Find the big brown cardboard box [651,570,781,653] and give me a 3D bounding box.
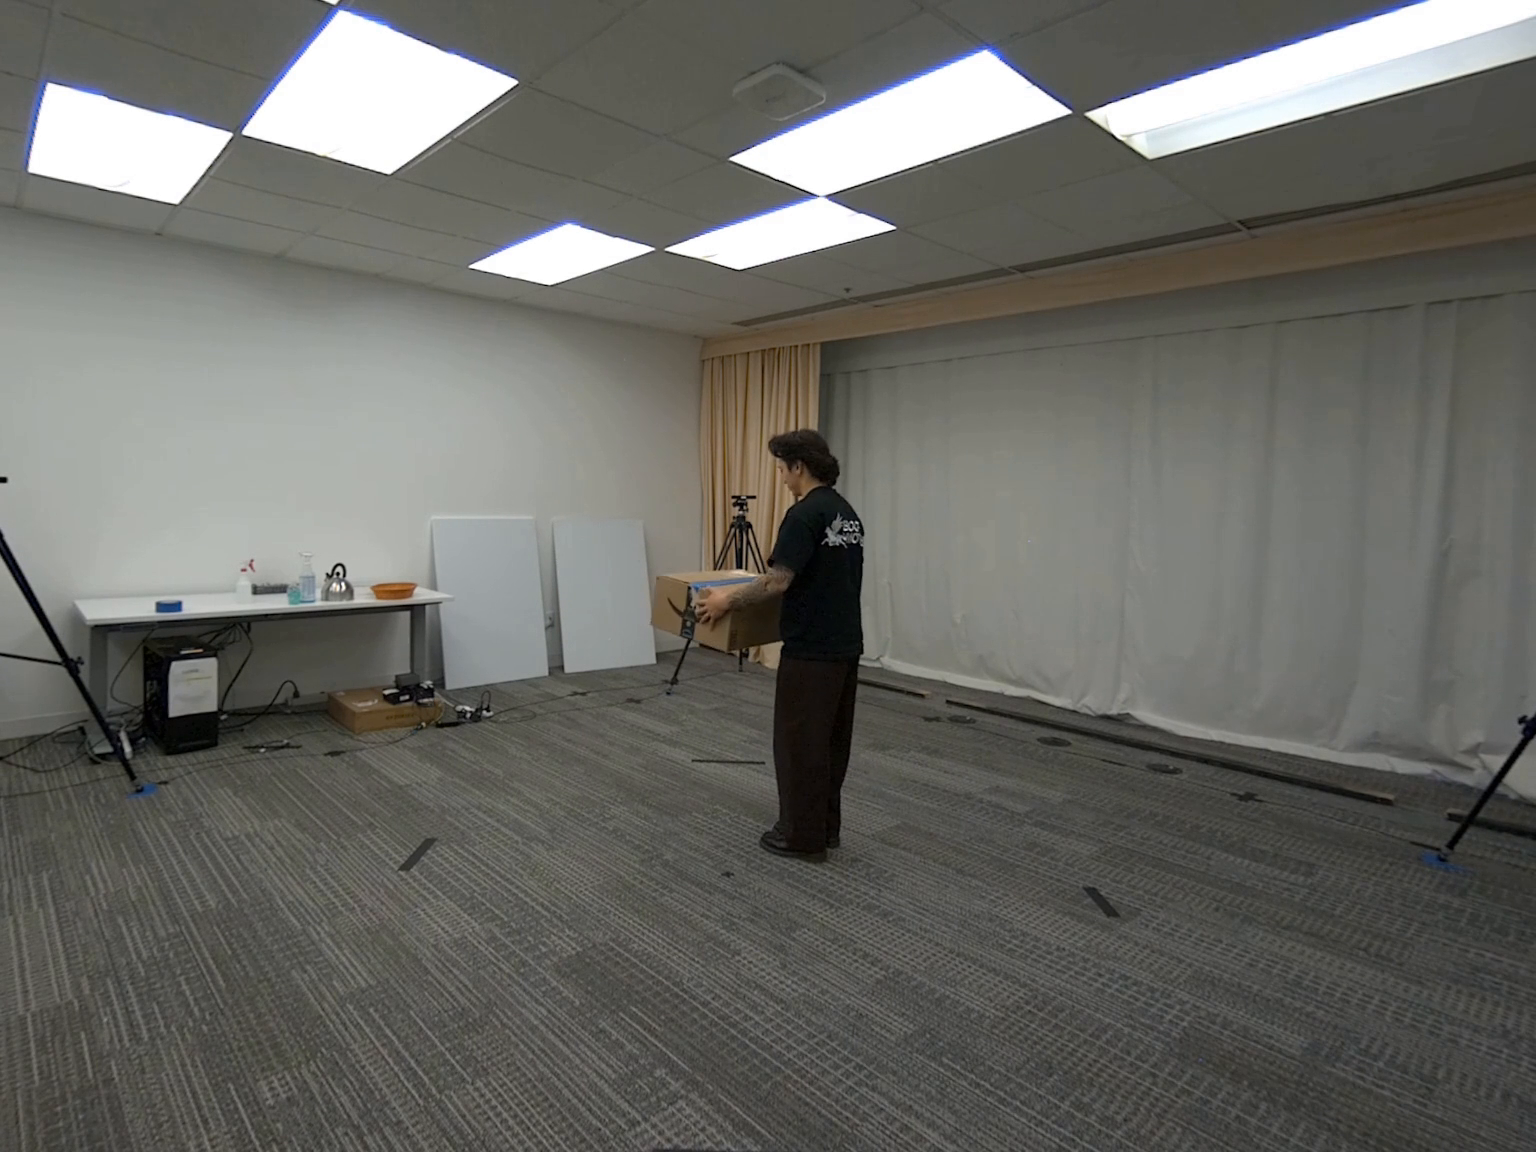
[{"bbox_3d":[-0.125,0.129,3.536,0.428,0.232,0.577,13,12,33],"label":"big brown cardboard box"}]
